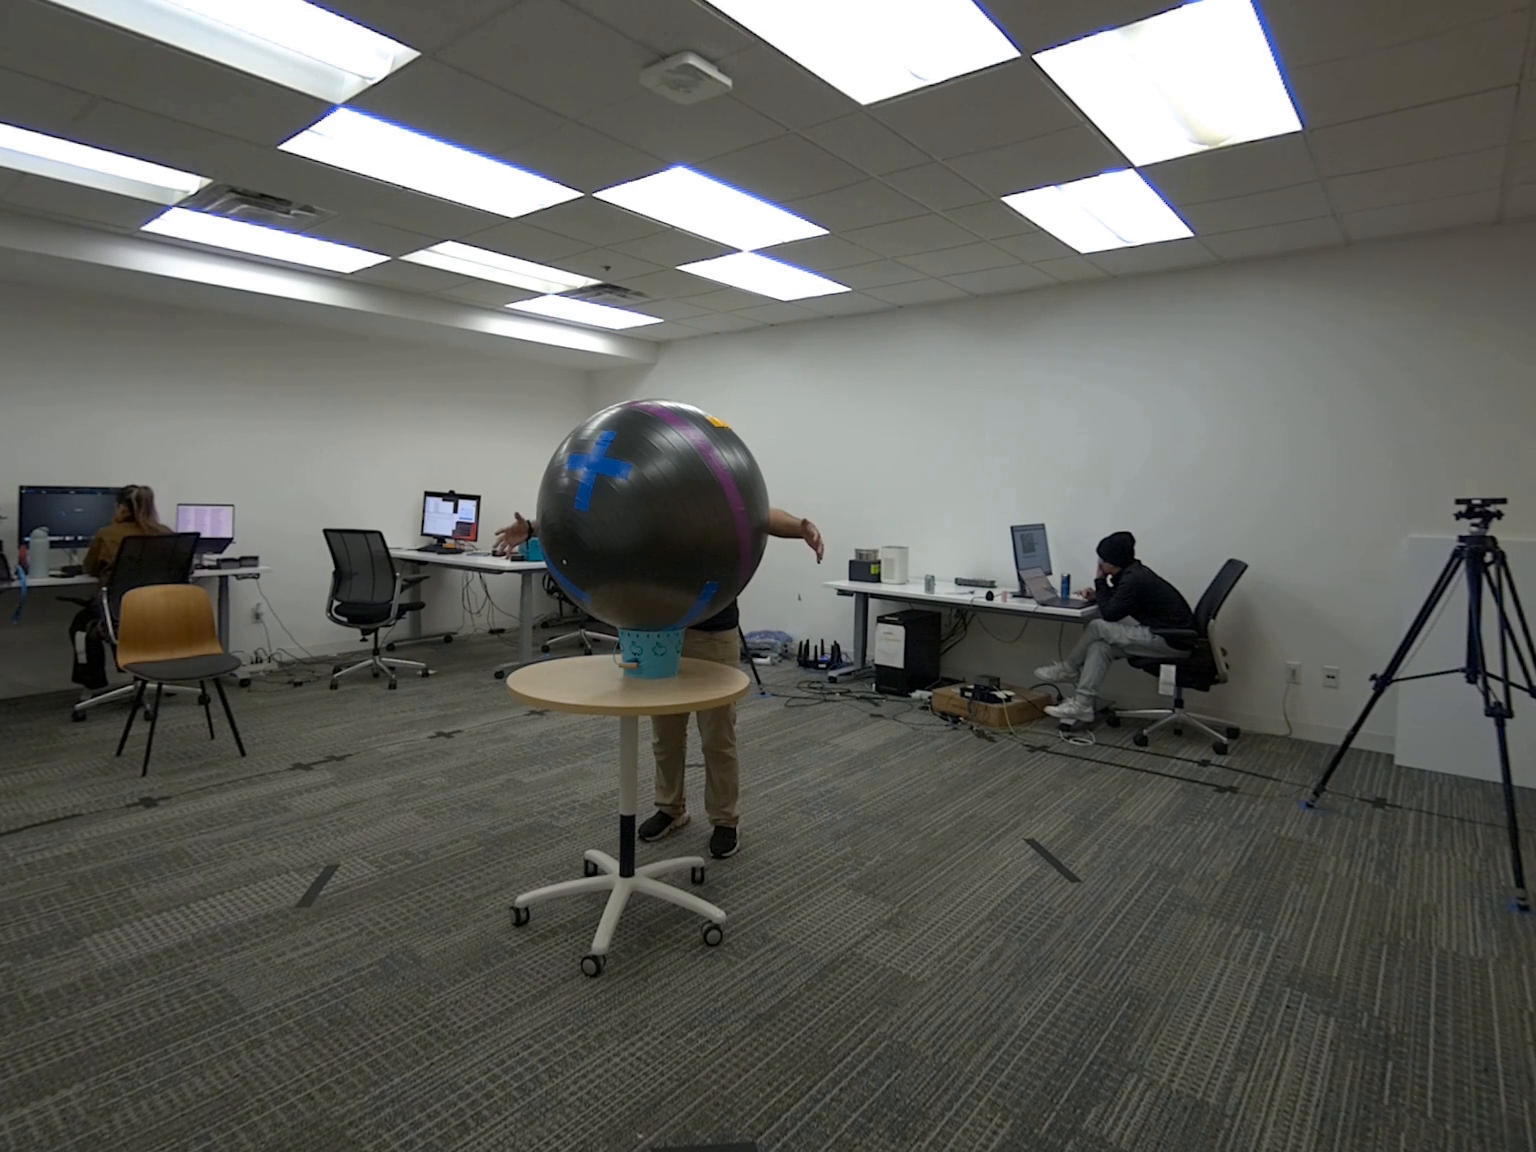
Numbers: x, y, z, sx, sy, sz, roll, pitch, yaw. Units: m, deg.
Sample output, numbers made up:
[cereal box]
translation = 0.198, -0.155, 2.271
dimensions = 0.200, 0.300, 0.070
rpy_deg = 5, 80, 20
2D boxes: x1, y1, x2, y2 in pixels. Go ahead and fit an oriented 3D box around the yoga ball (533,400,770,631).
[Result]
[yoga ball]
translation = -0.382, -0.196, 2.775
dimensions = 0.757, 0.755, 0.762
rpy_deg = 1, 4, -2
